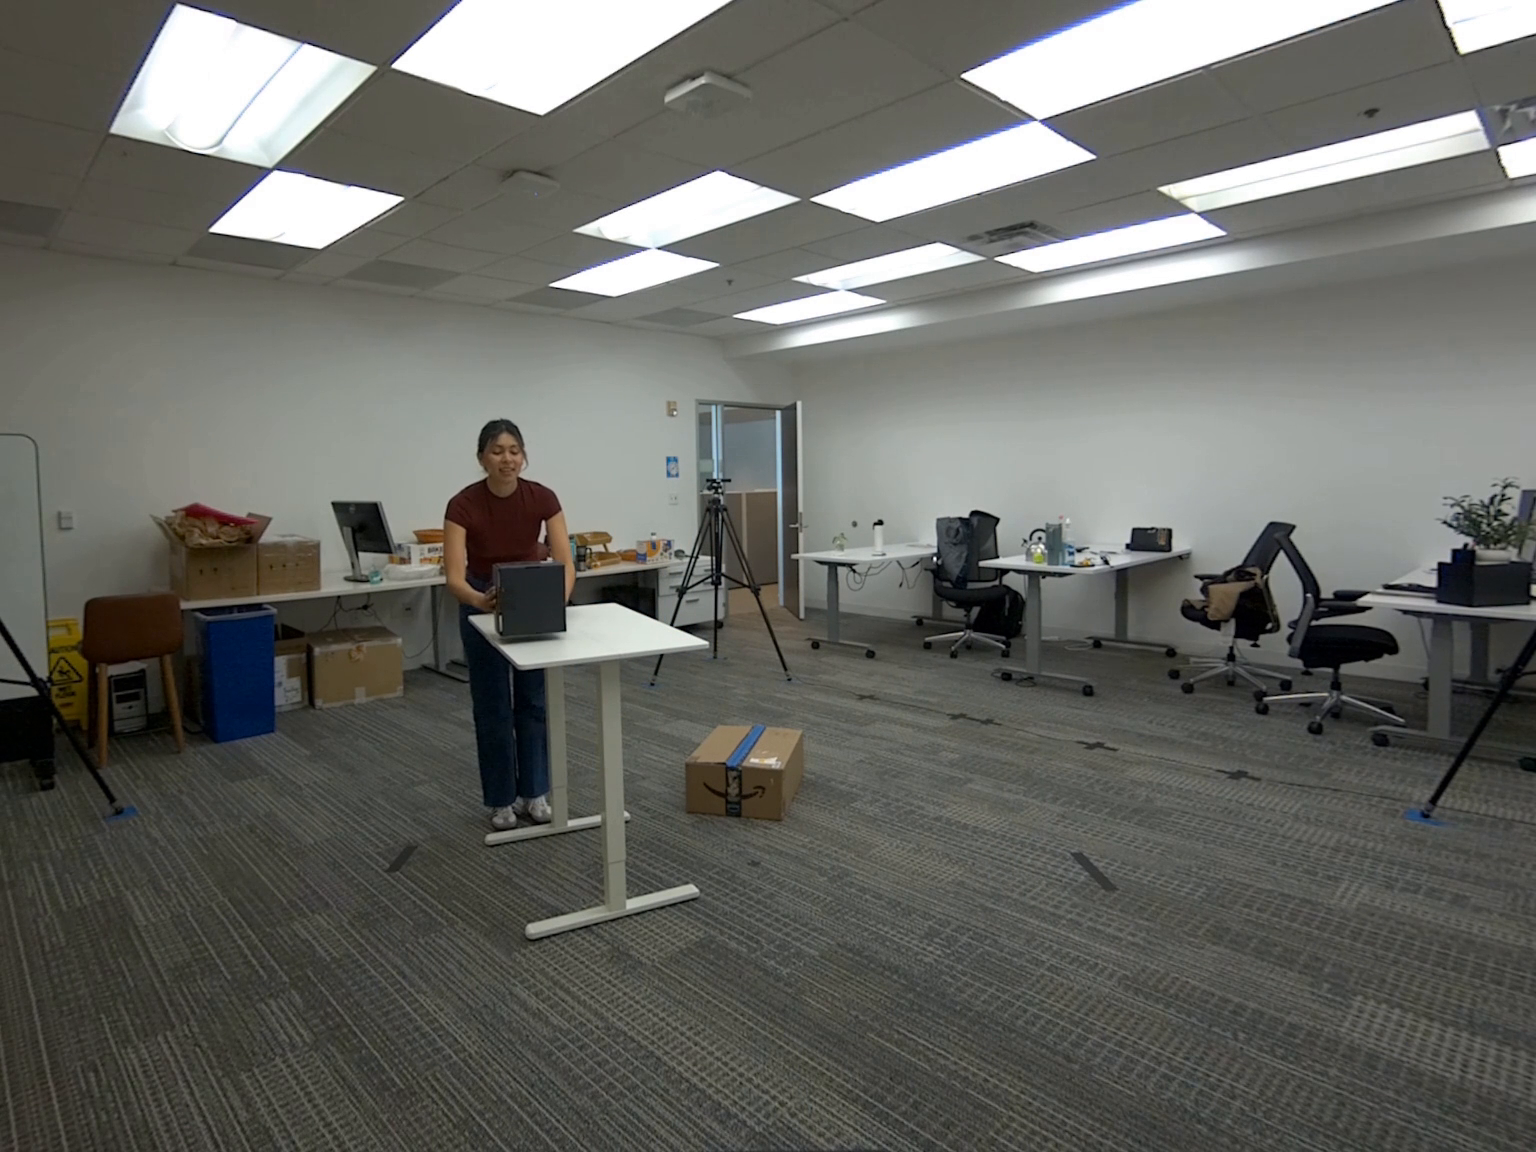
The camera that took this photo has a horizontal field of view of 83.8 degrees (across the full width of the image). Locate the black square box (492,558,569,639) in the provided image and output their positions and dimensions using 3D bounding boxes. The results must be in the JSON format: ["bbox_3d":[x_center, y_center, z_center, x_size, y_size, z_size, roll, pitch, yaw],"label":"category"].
[{"bbox_3d":[-0.800,0.069,2.854,0.212,0.227,0.160,-5,5,-26],"label":"black square box"}]
